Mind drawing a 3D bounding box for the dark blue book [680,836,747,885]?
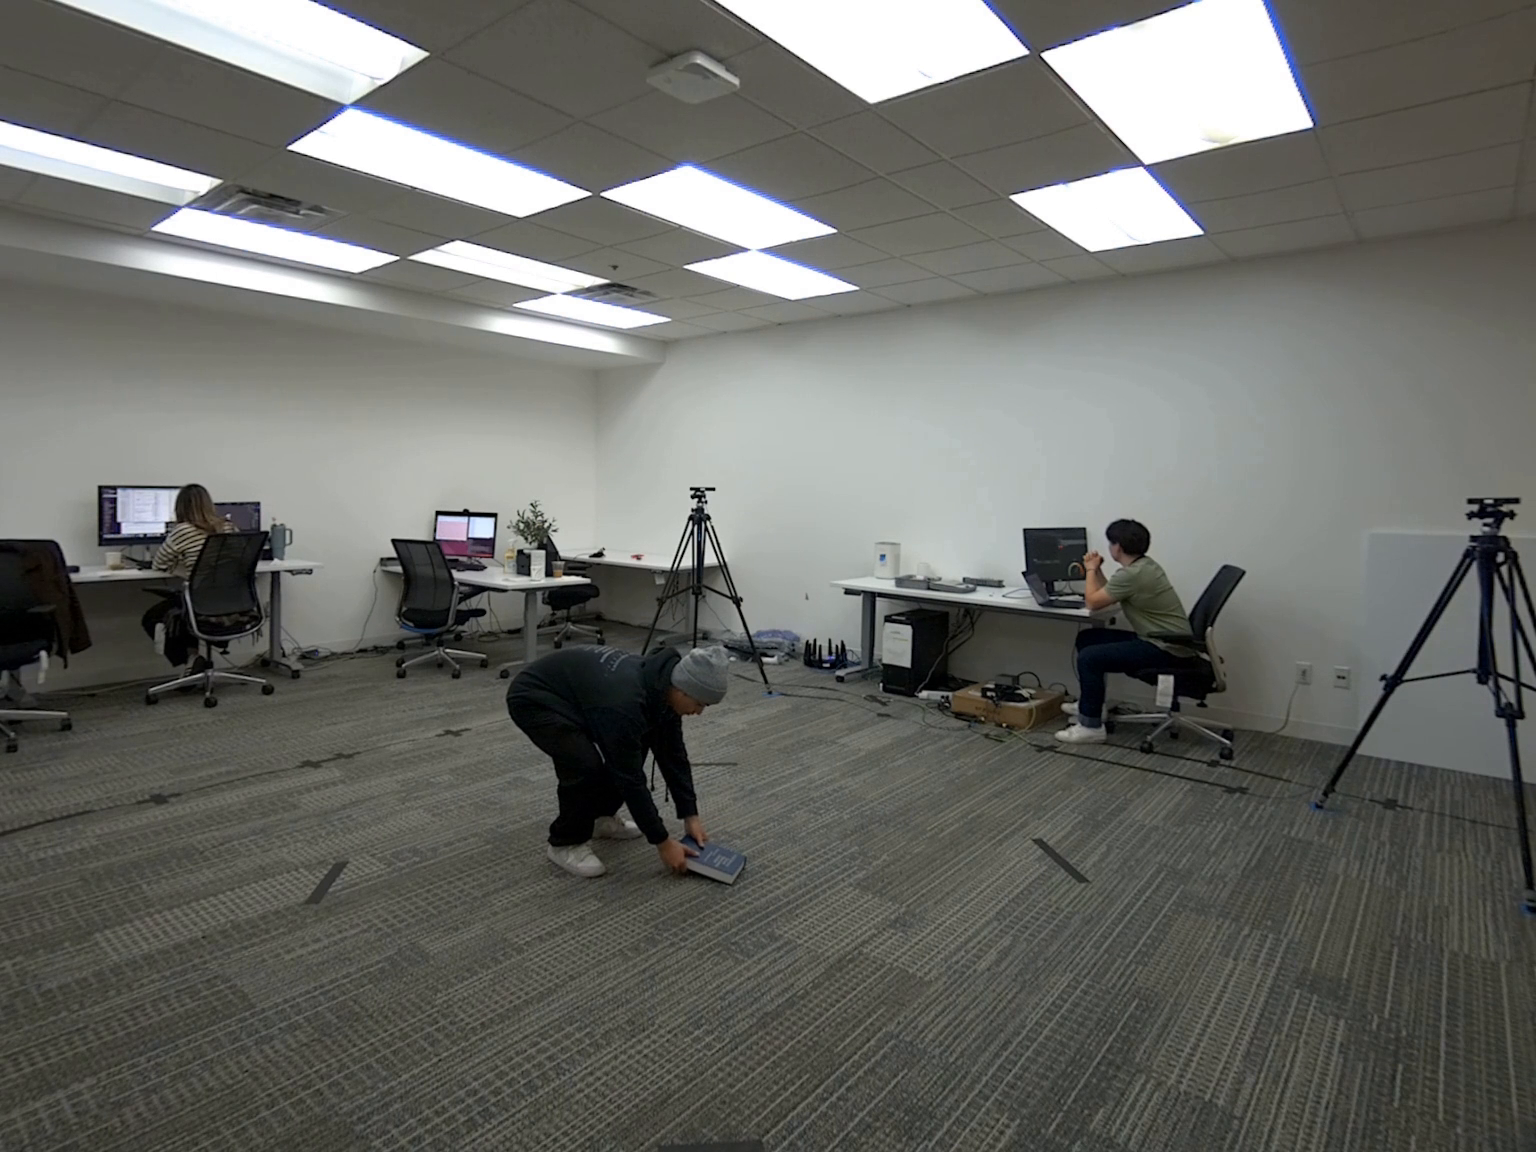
[{"bbox_3d":[-0.224,1.032,3.076,0.250,0.045,0.161,11,8,16],"label":"dark blue book"}]
